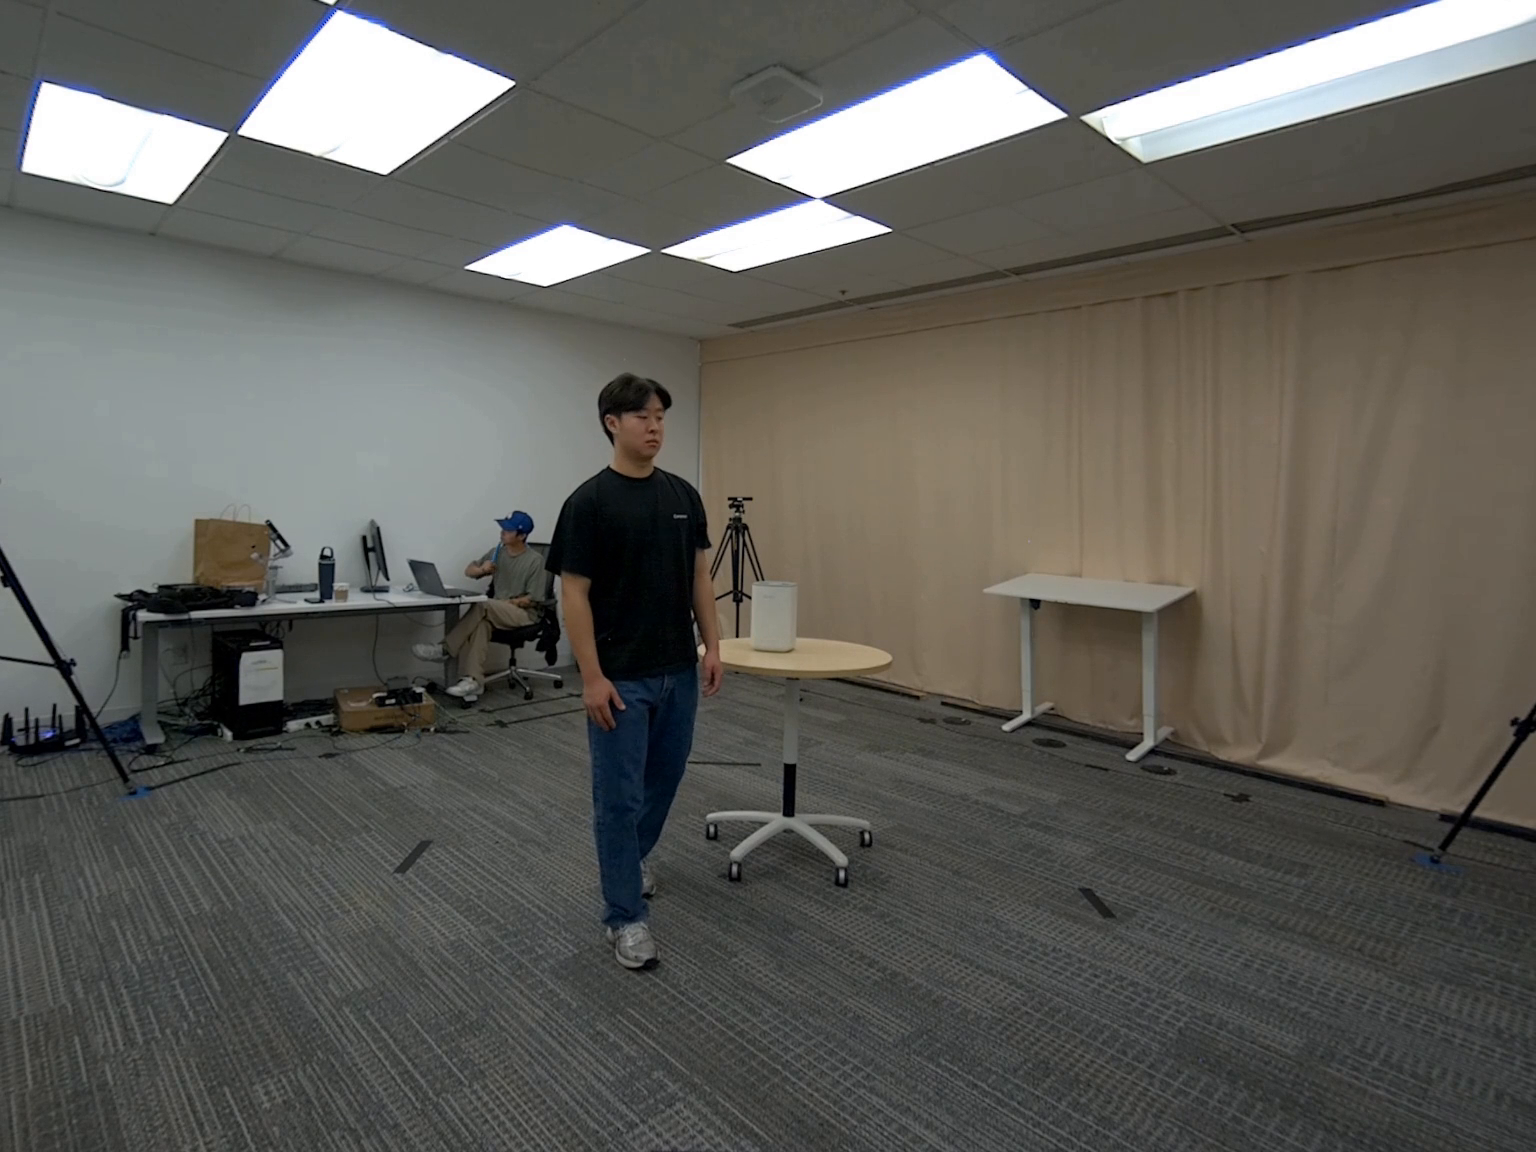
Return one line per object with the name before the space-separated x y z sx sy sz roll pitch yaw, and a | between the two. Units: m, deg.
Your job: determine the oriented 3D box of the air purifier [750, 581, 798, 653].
air purifier | 0.014 0.163 3.367 0.173 0.264 0.170 3 5 12
